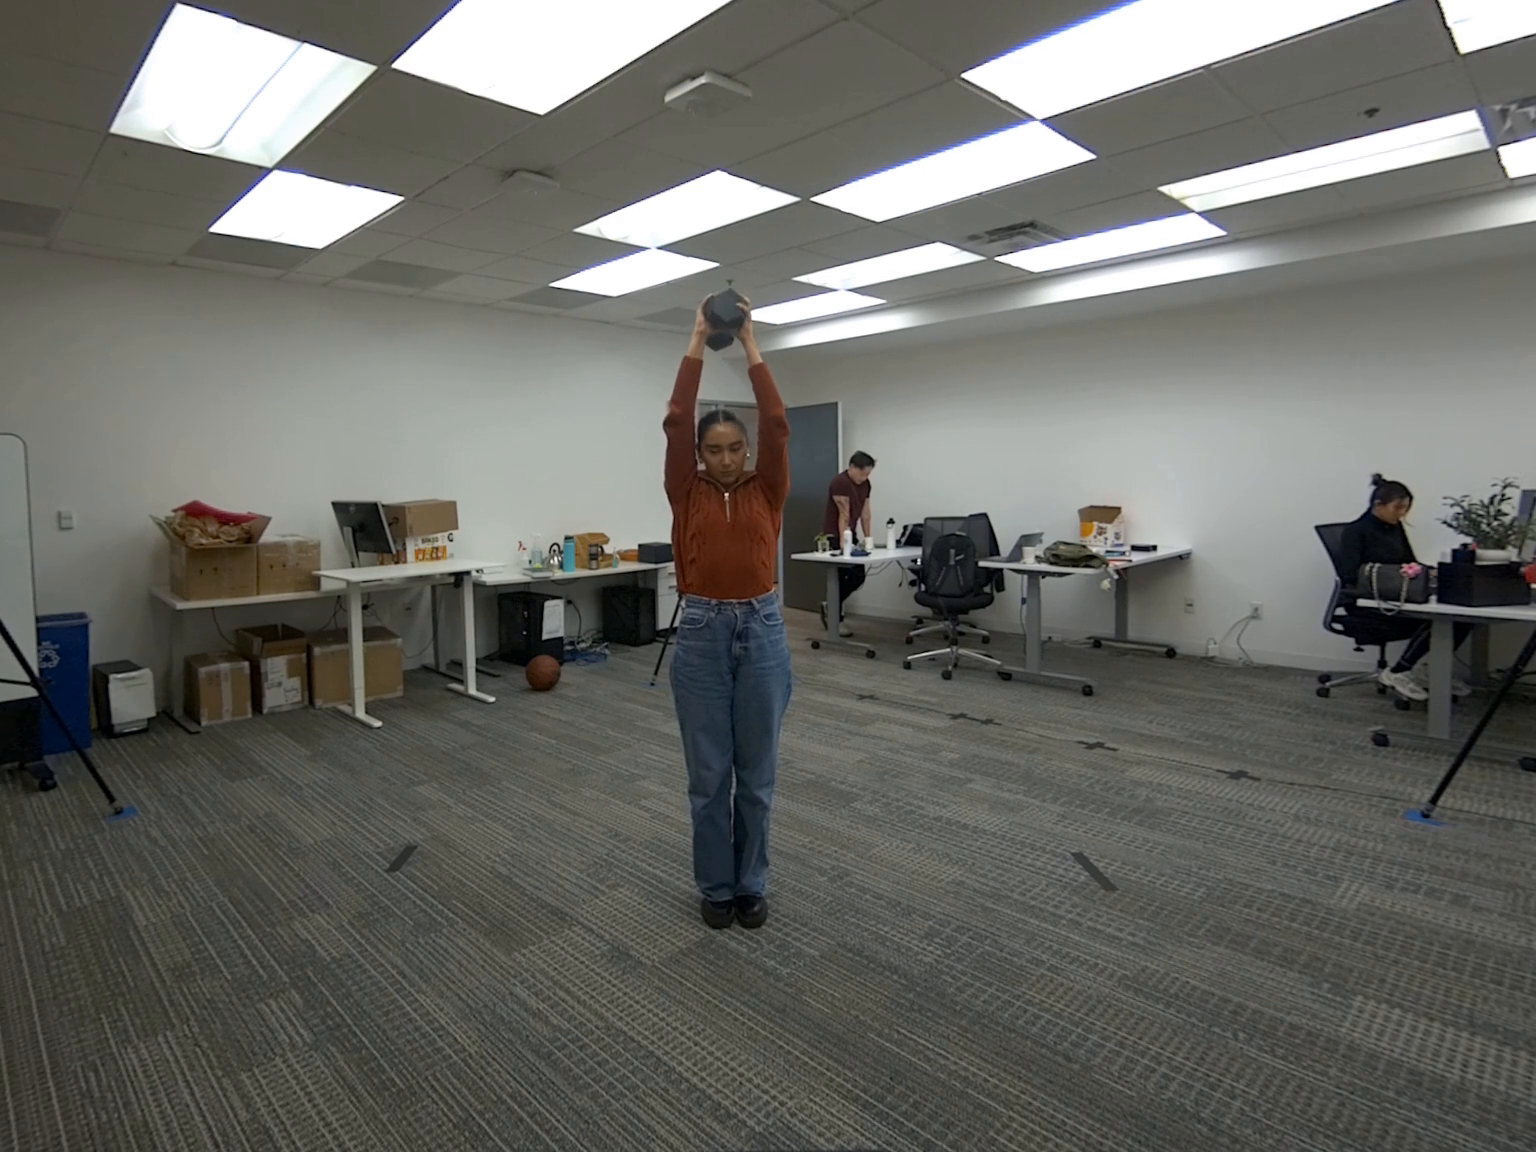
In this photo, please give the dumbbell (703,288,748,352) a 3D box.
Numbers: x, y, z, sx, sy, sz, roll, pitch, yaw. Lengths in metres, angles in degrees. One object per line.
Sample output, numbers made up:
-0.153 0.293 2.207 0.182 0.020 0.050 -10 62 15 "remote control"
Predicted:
-0.149 -0.809 2.696 0.108 0.123 0.294 4 -3 -5 "dumbbell"
